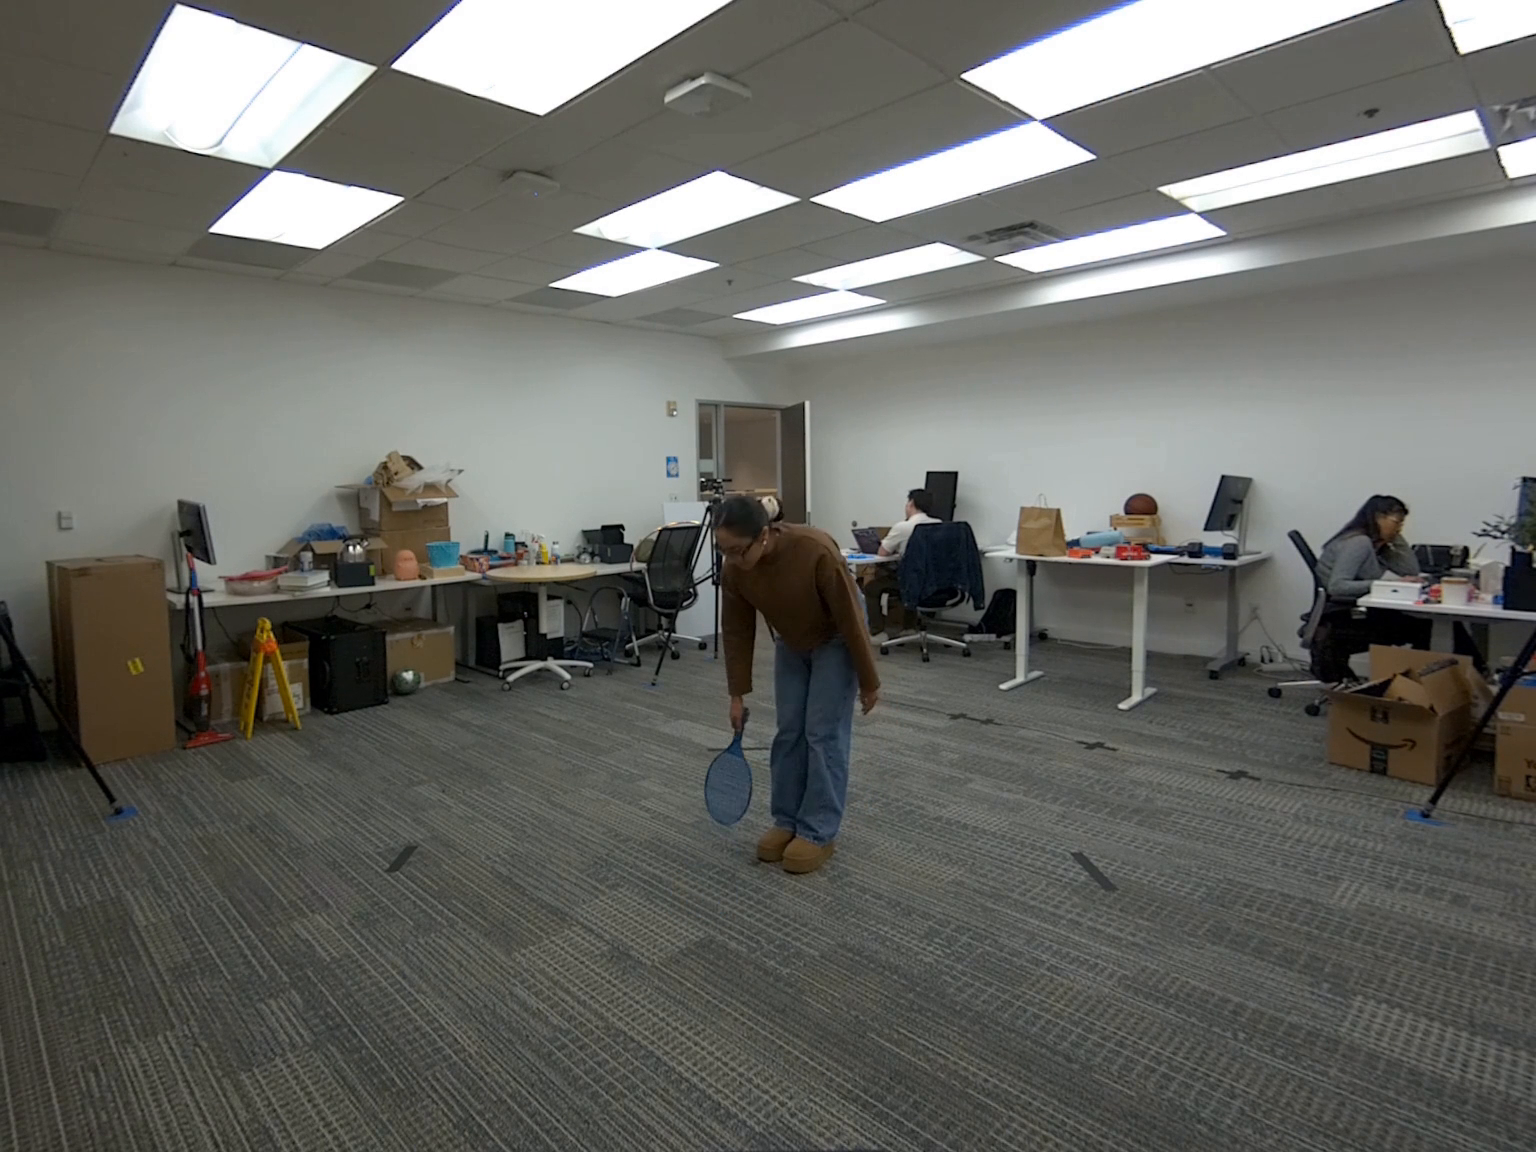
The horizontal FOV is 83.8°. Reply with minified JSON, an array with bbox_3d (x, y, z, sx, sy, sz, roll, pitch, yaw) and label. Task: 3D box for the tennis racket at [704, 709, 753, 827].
[{"bbox_3d":[-0.123,0.708,3.125,0.220,0.434,0.031,9,-3,36],"label":"tennis racket"}]
